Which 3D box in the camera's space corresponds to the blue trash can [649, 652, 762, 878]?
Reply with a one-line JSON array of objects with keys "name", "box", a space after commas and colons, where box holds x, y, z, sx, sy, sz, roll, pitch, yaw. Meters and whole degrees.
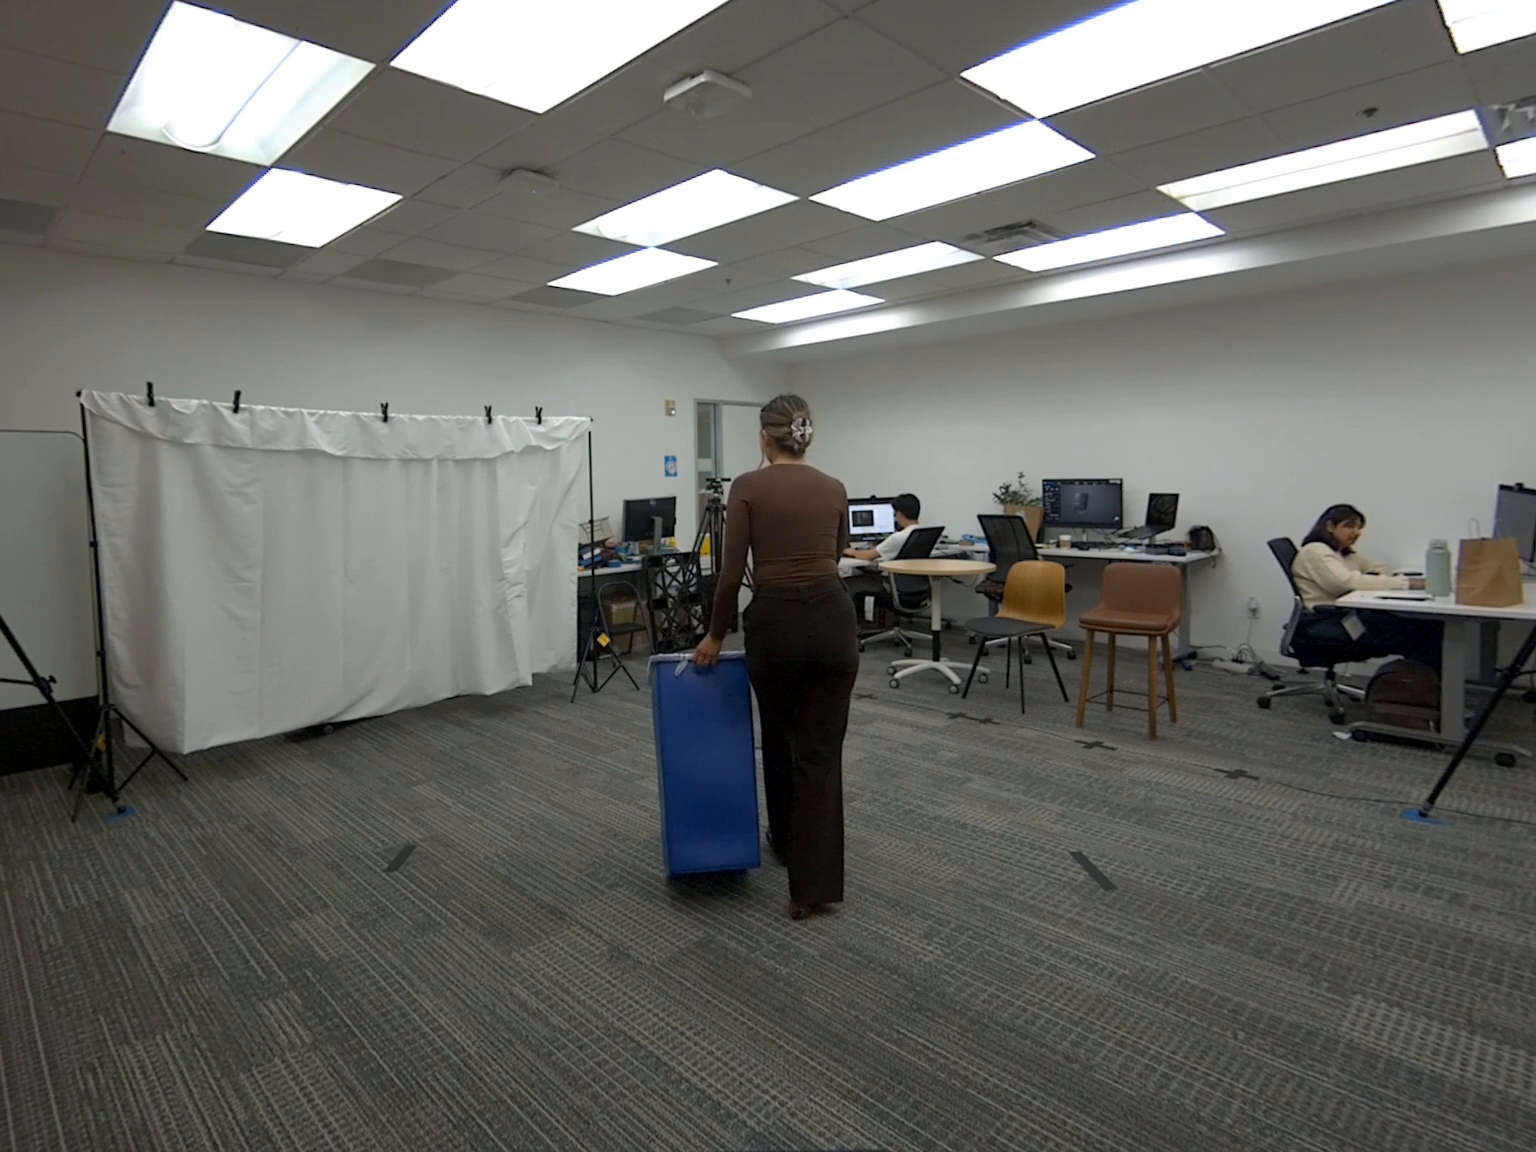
[{"name": "blue trash can", "box": [-0.214, 0.667, 3.039, 0.371, 0.729, 0.373, -2, -22, -10]}]
